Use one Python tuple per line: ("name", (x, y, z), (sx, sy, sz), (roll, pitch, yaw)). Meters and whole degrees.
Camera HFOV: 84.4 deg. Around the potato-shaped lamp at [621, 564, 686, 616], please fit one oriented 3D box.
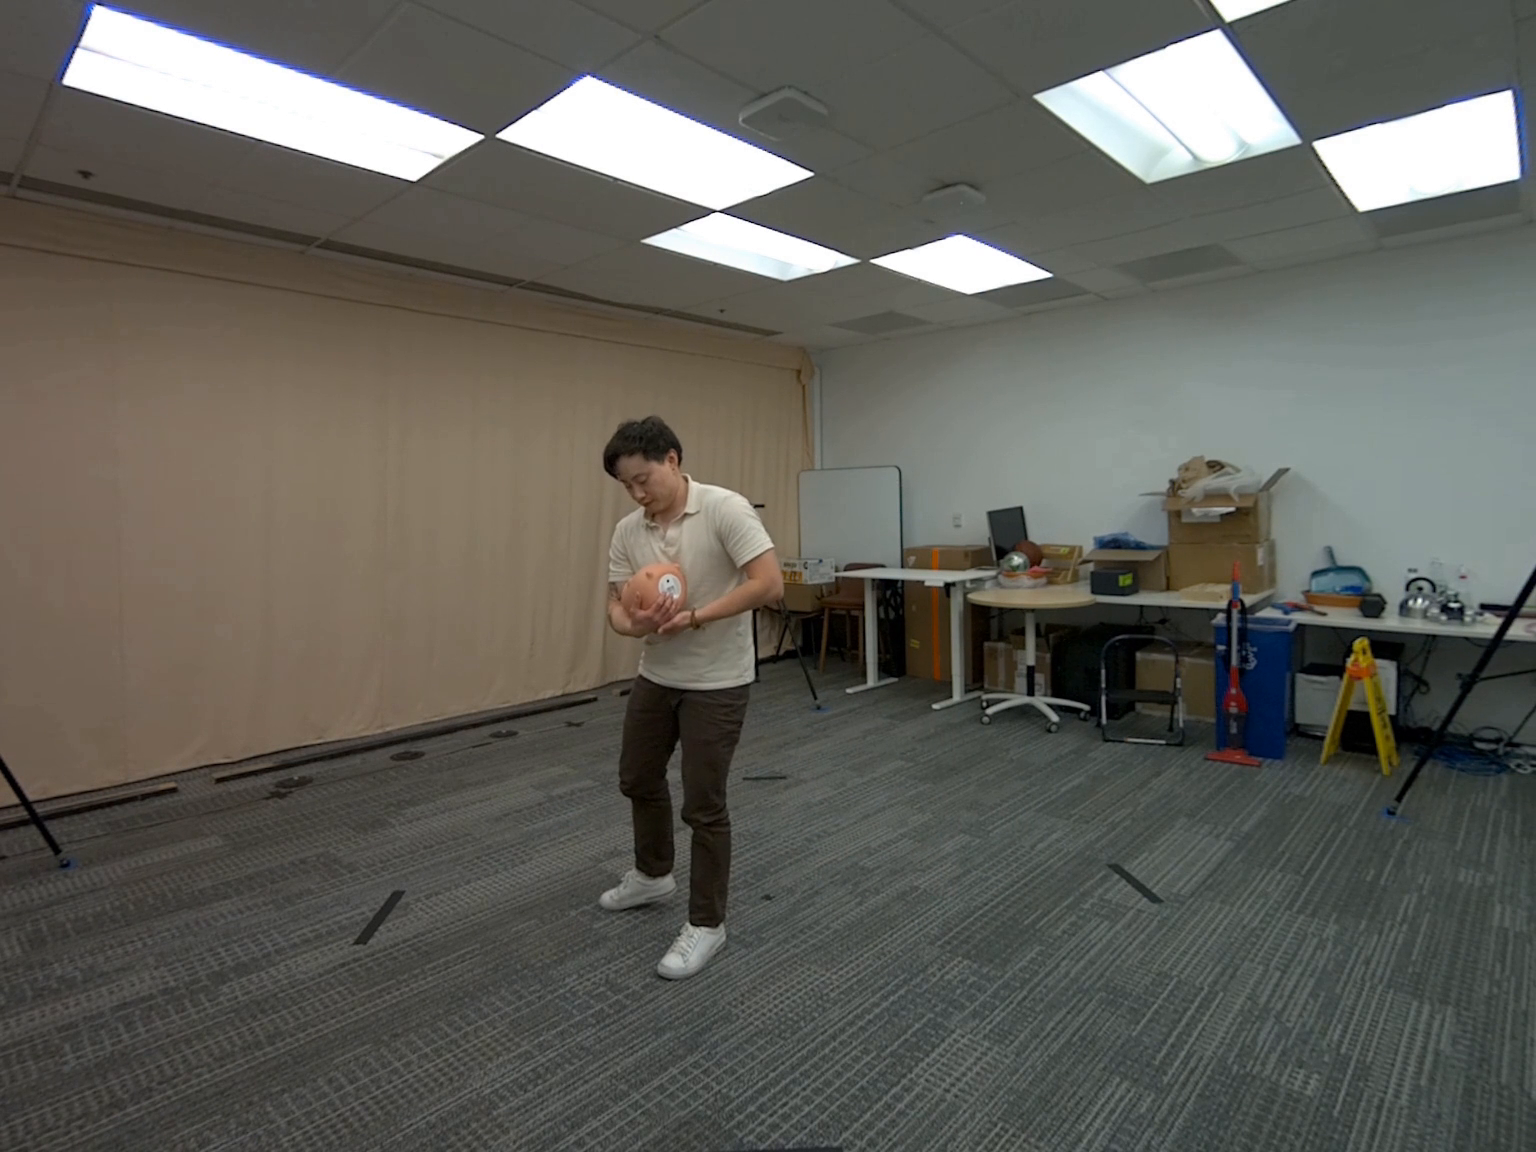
("potato-shaped lamp", (-0.342, 0.054, 2.477), (0.161, 0.171, 0.204), (-19, 7, -40))
